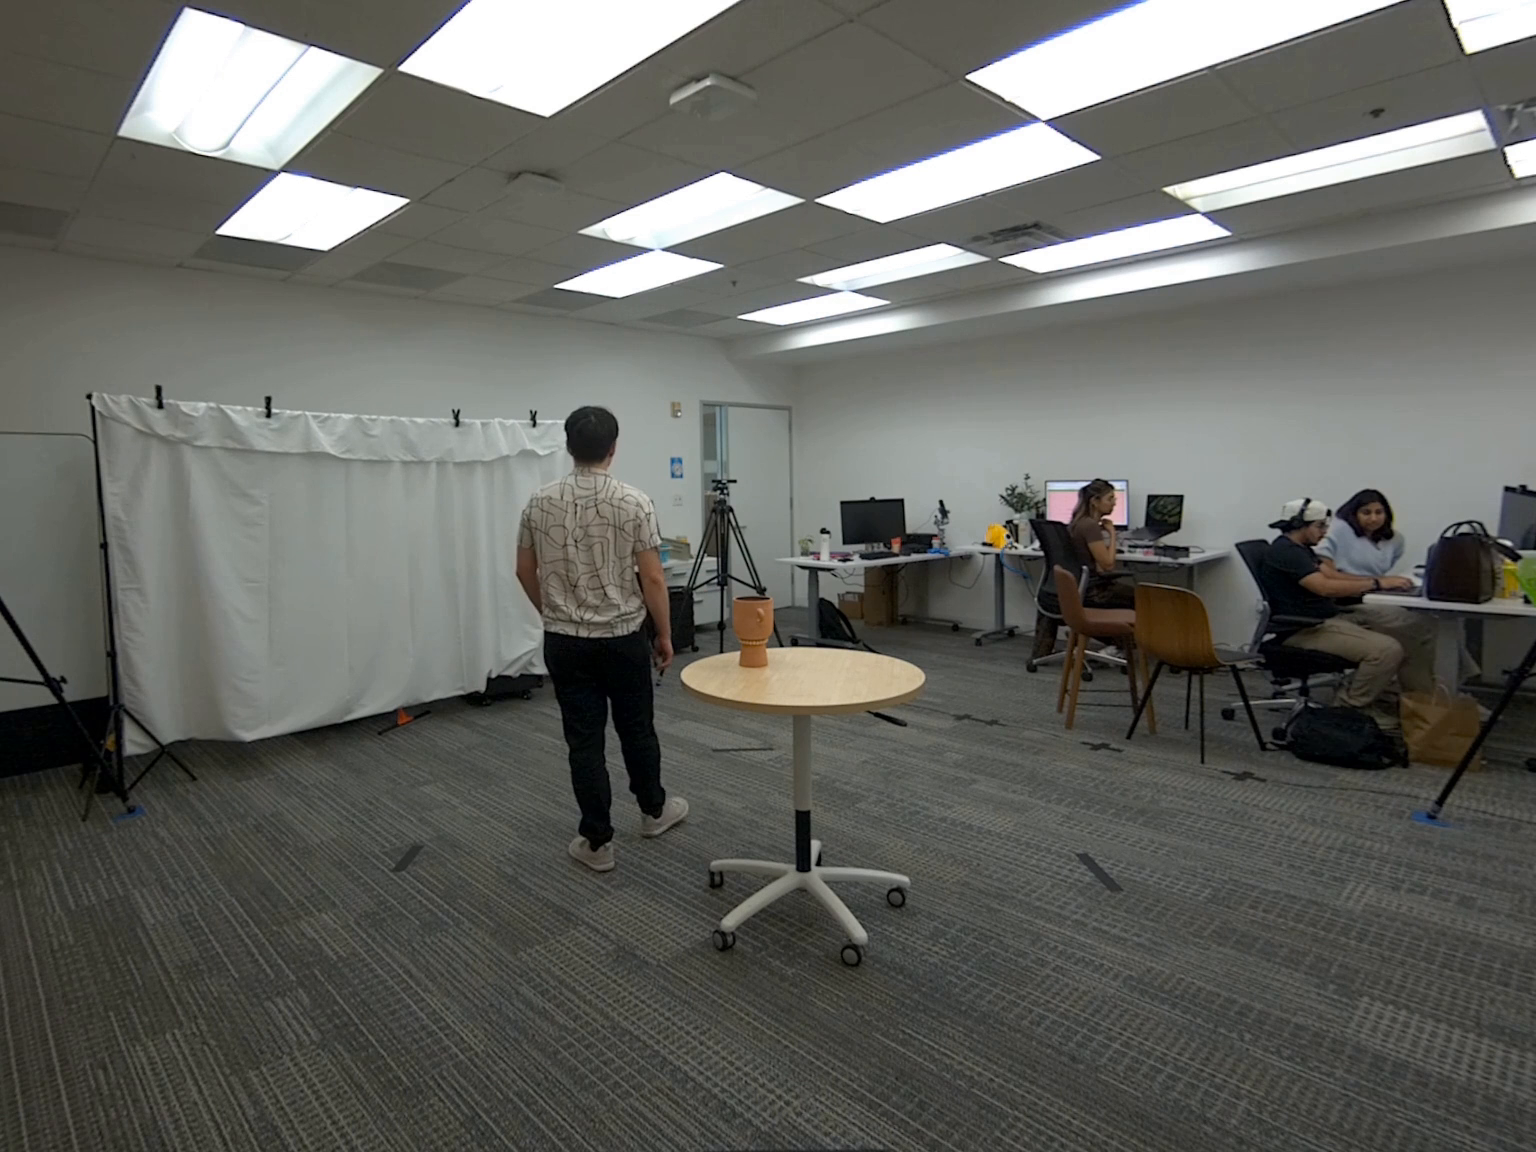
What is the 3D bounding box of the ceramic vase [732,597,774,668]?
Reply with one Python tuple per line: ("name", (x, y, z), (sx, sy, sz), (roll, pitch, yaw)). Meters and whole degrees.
("ceramic vase", (-0.048, 0.185, 2.820), (0.137, 0.219, 0.156), (1, 5, 20))
